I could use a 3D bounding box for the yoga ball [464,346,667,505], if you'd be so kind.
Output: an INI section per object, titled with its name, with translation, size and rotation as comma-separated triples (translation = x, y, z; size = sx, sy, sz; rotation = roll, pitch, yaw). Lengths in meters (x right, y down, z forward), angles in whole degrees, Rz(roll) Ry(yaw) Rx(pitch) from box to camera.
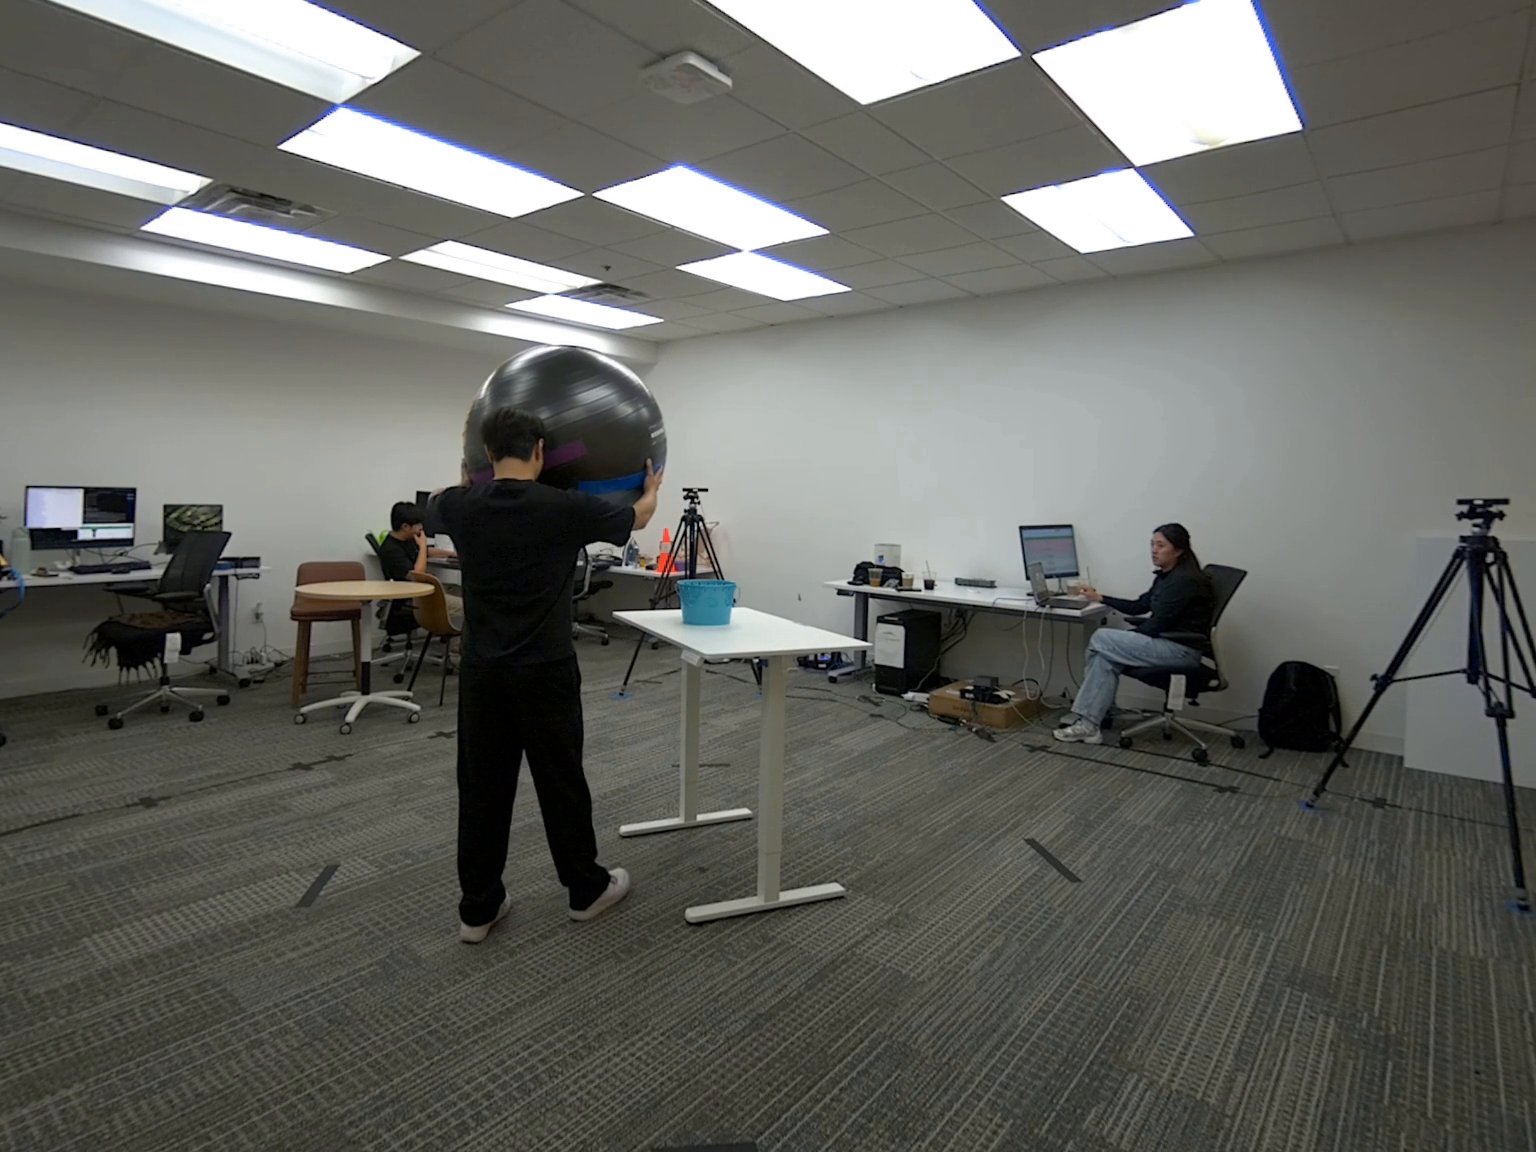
[yoga ball]
translation = -0.770, -0.497, 3.234
size = 0.757, 0.756, 0.762
rotation = 1, 4, -2
